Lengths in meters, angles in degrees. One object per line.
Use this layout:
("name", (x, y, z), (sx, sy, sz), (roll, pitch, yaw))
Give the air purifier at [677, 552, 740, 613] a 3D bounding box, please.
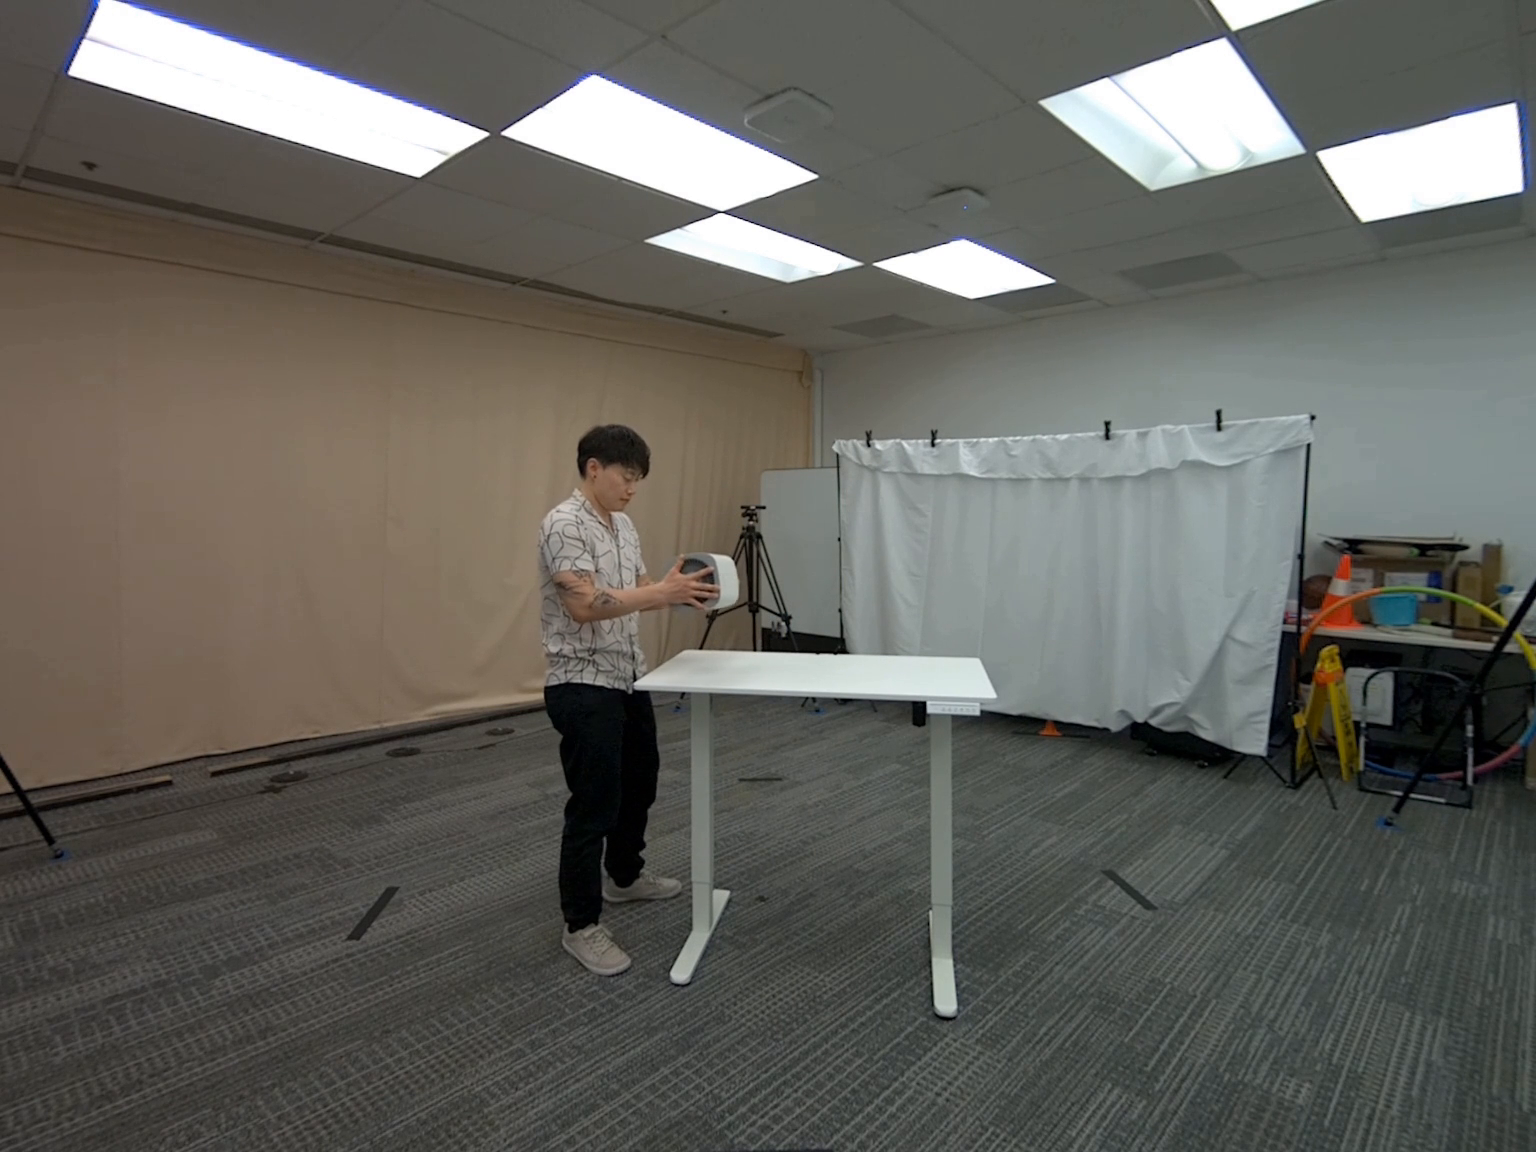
("air purifier", (-0.198, 0.017, 2.612), (0.174, 0.171, 0.261), (-6, -2, 12))
